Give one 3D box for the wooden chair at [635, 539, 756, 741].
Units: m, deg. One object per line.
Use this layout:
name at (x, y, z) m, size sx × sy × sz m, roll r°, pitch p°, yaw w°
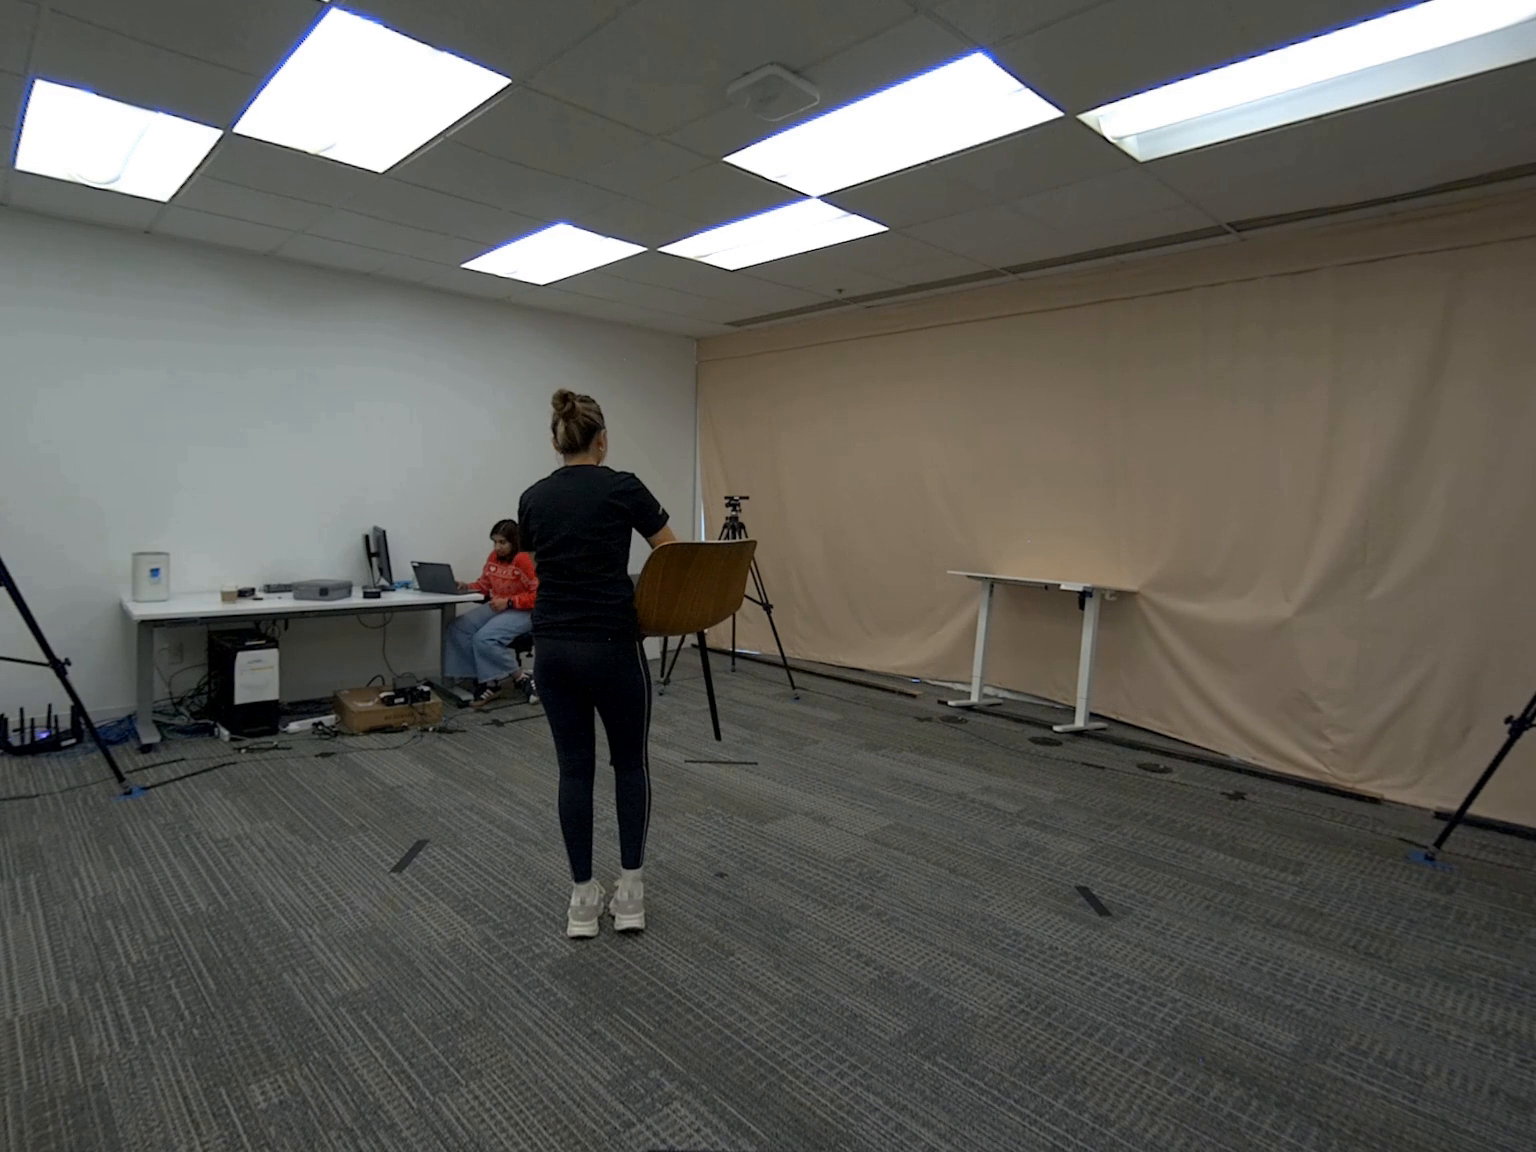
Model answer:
wooden chair at (-0.398, 0.138, 2.983) m, size 0.468 × 0.867 × 0.540 m, roll -4°, pitch 32°, yaw -36°
